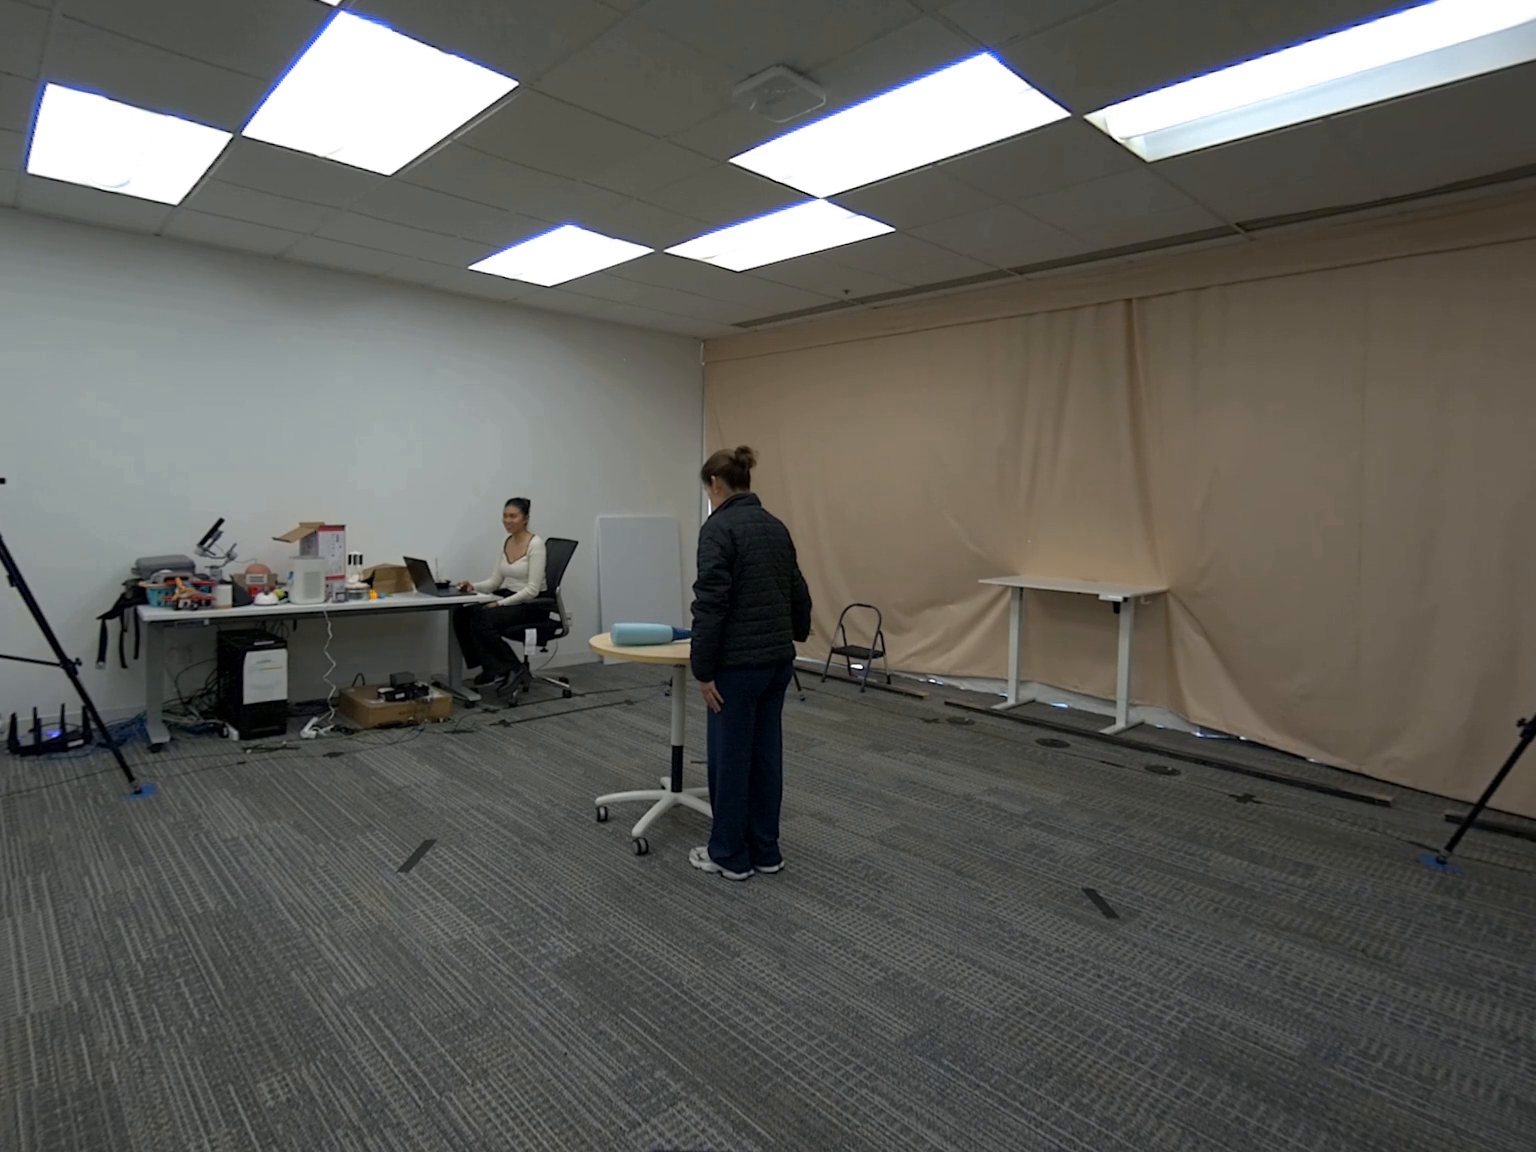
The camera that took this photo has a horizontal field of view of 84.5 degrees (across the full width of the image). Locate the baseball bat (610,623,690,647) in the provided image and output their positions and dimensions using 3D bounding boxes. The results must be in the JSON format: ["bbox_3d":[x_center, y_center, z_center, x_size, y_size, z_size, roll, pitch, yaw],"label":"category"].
[{"bbox_3d":[-0.390,0.246,3.503,0.532,0.089,0.091,2,3,-26],"label":"baseball bat"}]
